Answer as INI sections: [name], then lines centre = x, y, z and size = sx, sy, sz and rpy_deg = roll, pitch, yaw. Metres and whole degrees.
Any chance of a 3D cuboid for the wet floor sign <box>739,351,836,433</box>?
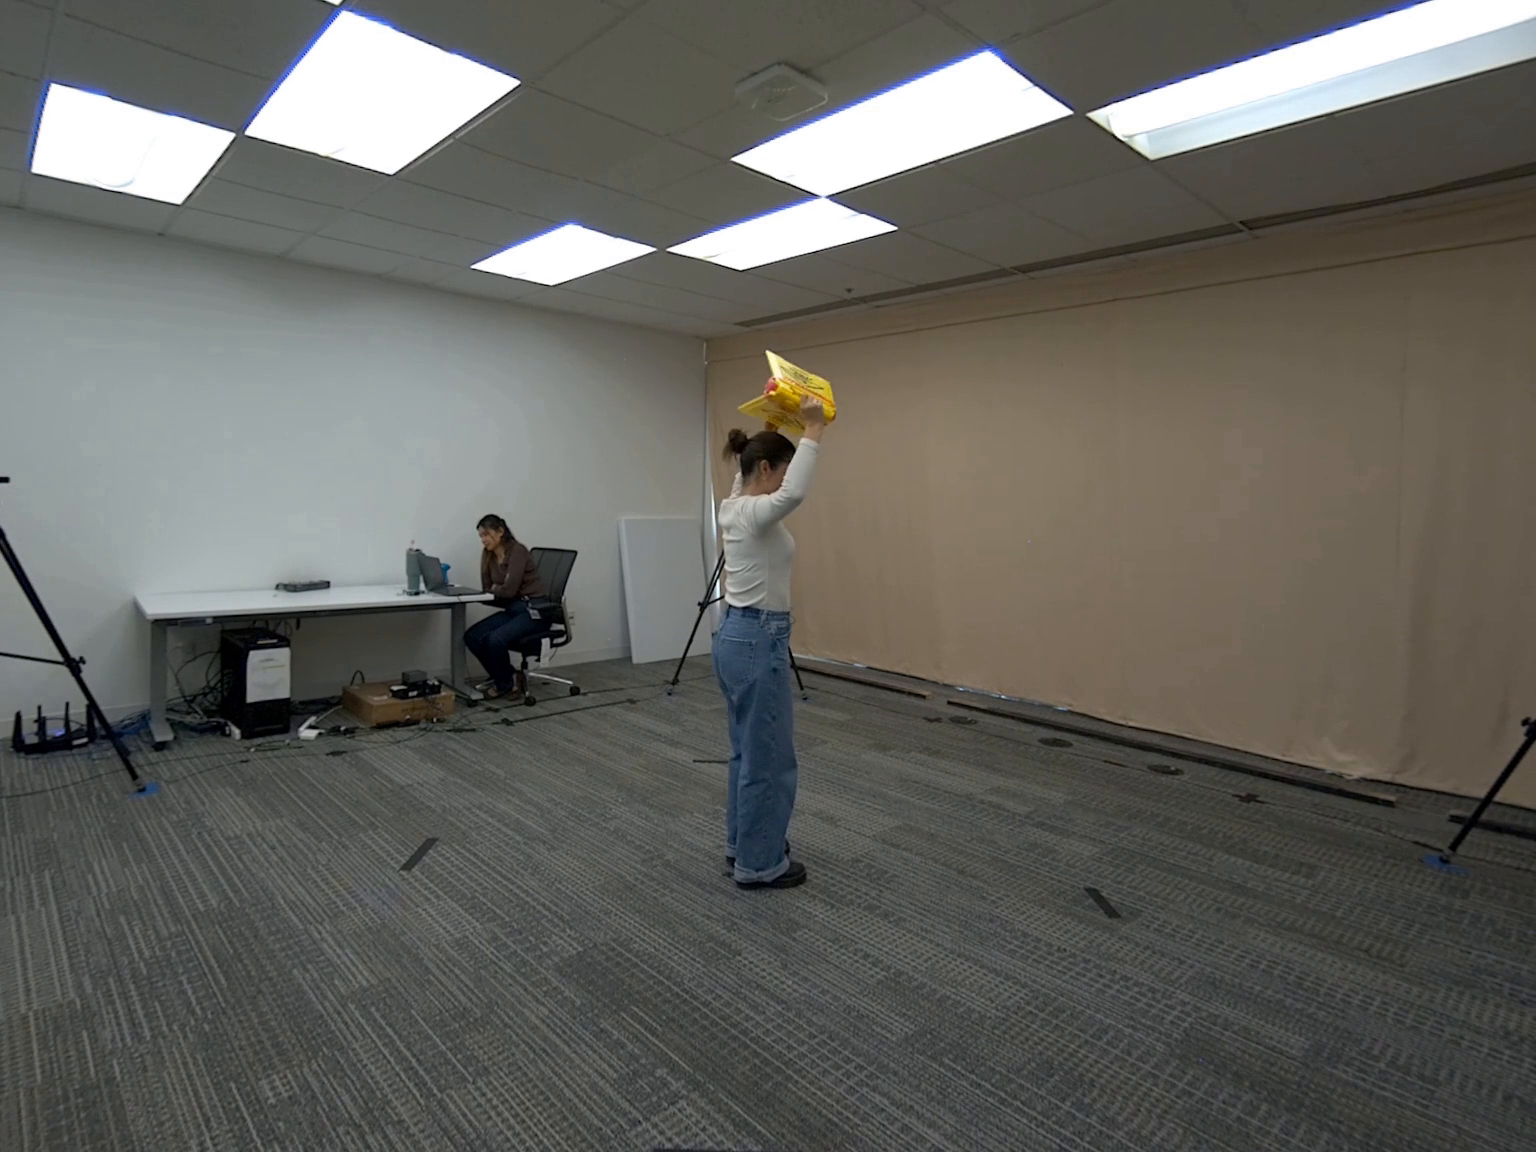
[wet floor sign]
centre = 0.083, -0.627, 2.978
size = 0.279, 0.289, 0.654
rpy_deg = 26, 9, -11
